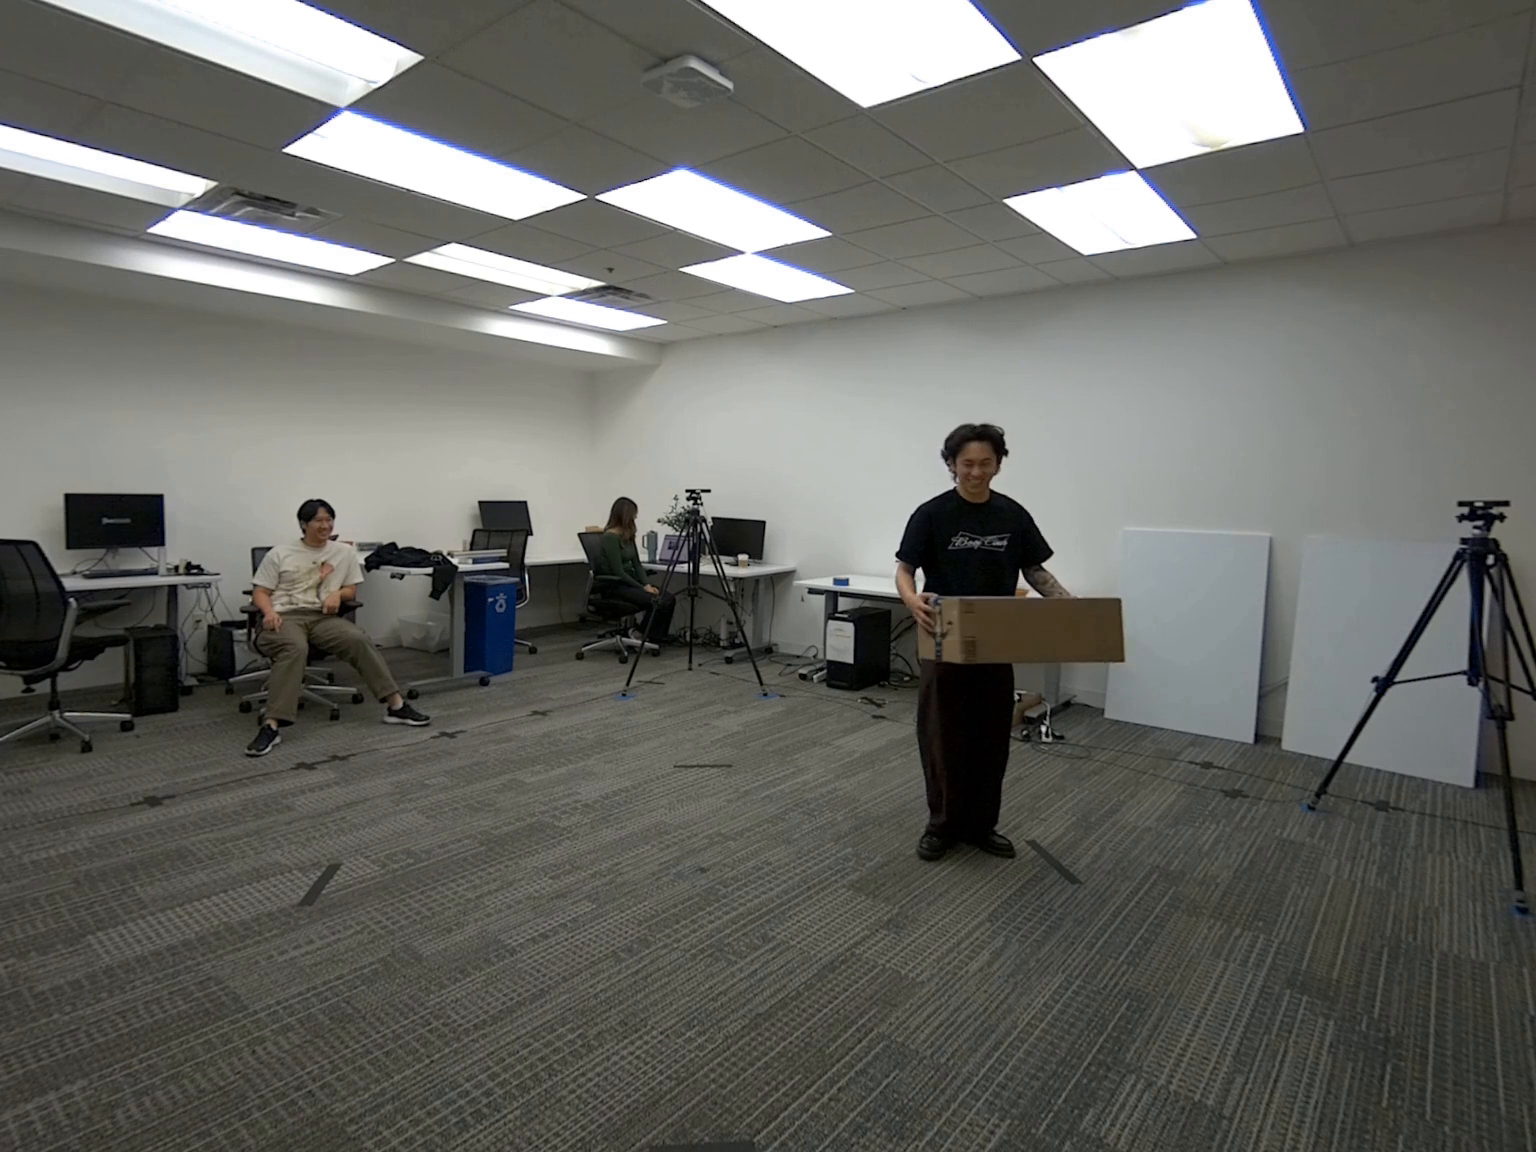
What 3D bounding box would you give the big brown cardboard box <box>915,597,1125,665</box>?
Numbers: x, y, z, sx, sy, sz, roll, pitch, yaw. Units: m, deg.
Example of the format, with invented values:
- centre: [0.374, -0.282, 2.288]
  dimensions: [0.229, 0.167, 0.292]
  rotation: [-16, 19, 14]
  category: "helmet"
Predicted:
- centre: [0.850, 0.185, 2.995]
  dimensions: [0.584, 0.234, 0.419]
  rotation: [2, -3, -8]
  category: "big brown cardboard box"
